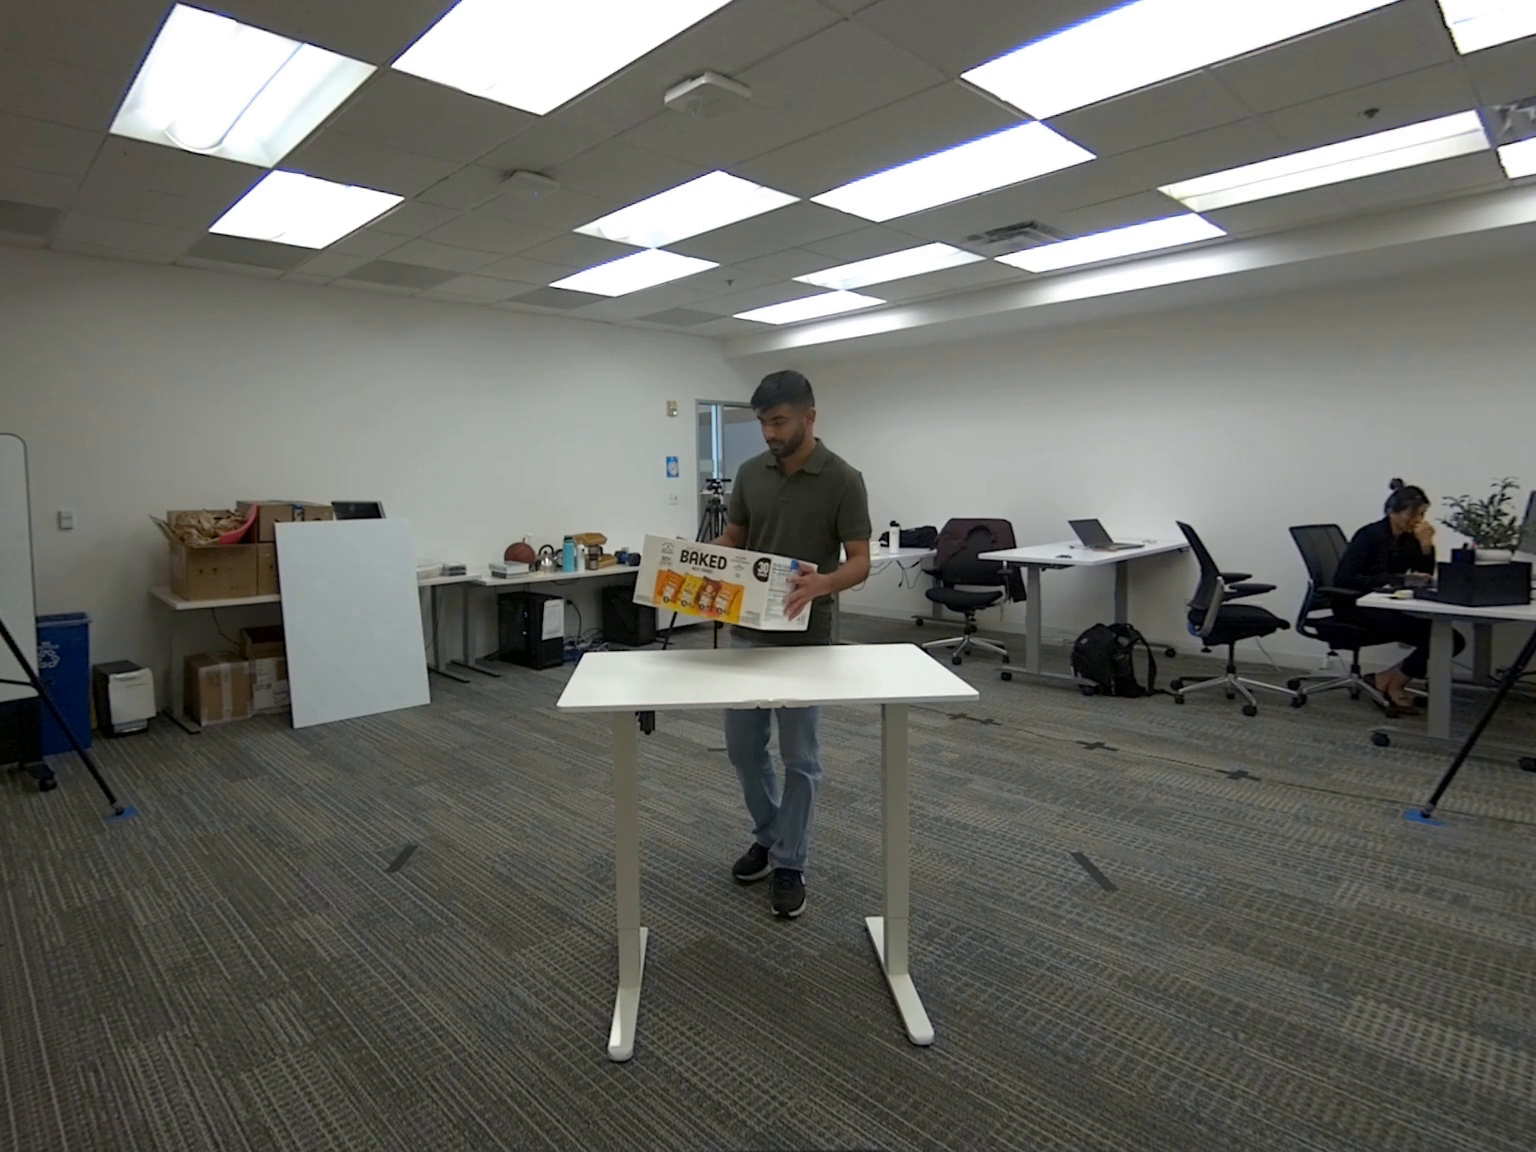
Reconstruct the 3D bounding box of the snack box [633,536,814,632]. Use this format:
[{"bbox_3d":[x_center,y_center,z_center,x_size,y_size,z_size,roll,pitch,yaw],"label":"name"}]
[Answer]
[{"bbox_3d":[-0.112,0.020,2.499,0.416,0.206,0.331,10,0,26],"label":"snack box"}]
